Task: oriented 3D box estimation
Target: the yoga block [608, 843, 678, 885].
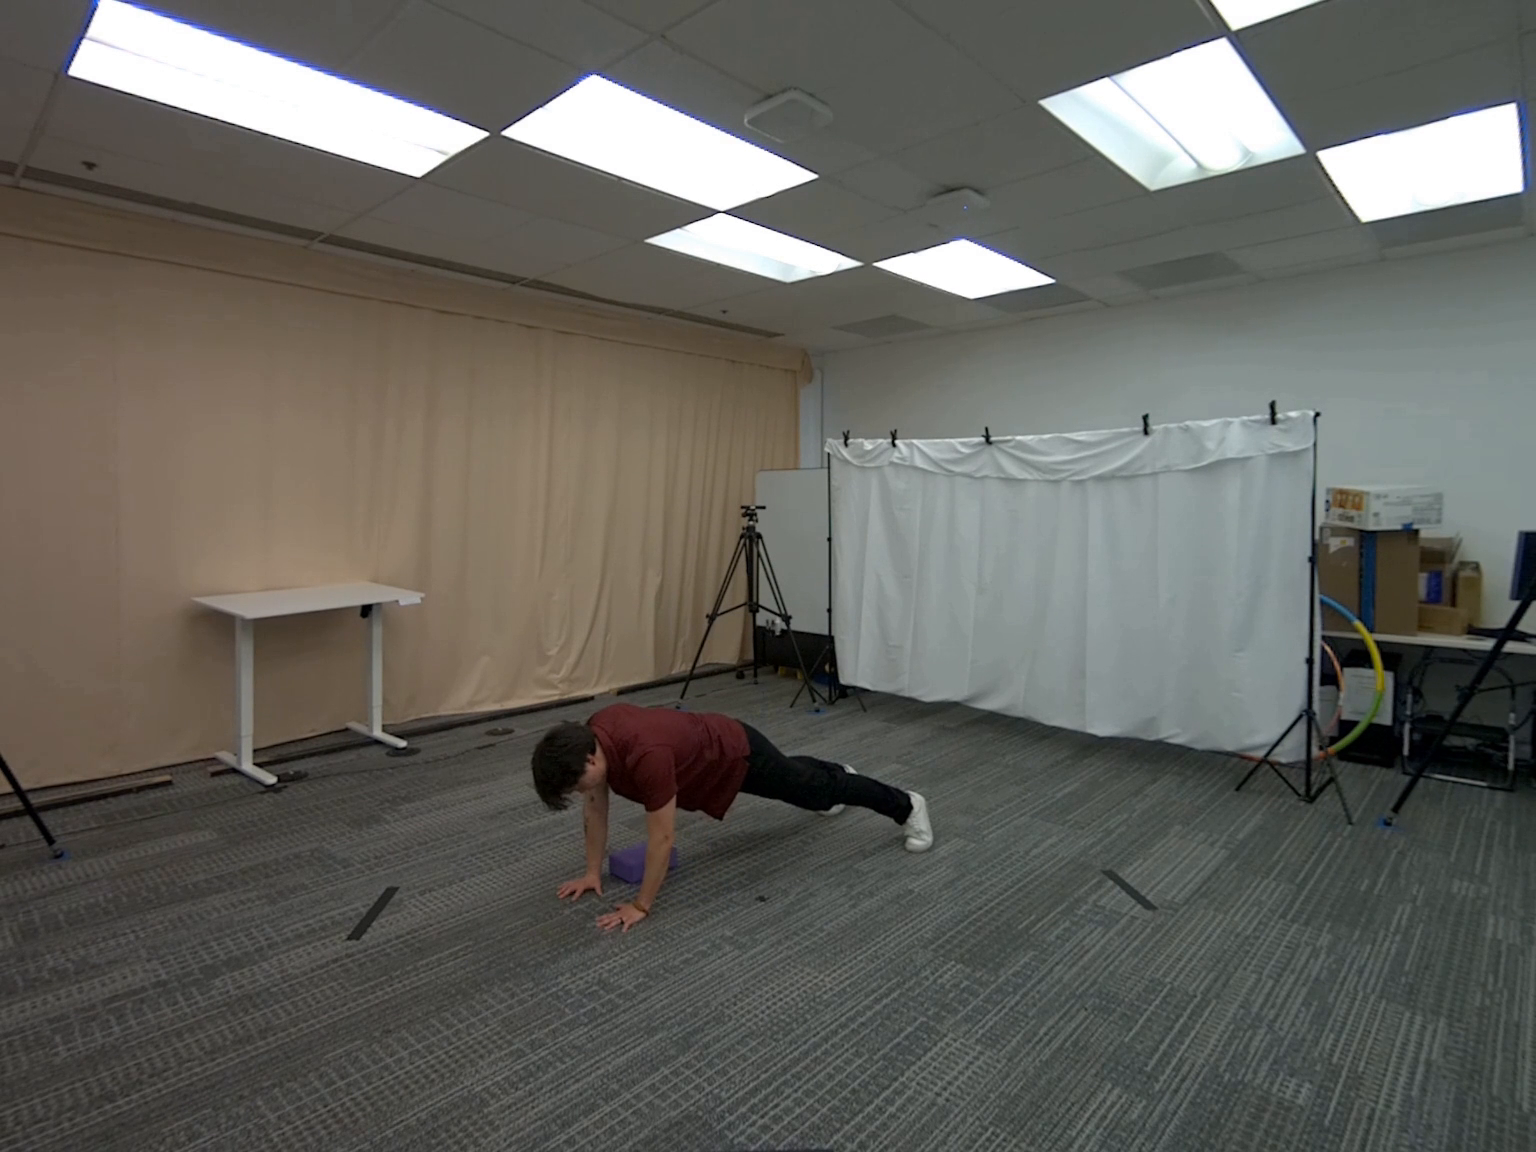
[{"bbox_3d":[-0.476,1.083,3.219,0.154,0.076,0.222,3,6,44],"label":"yoga block"}]
